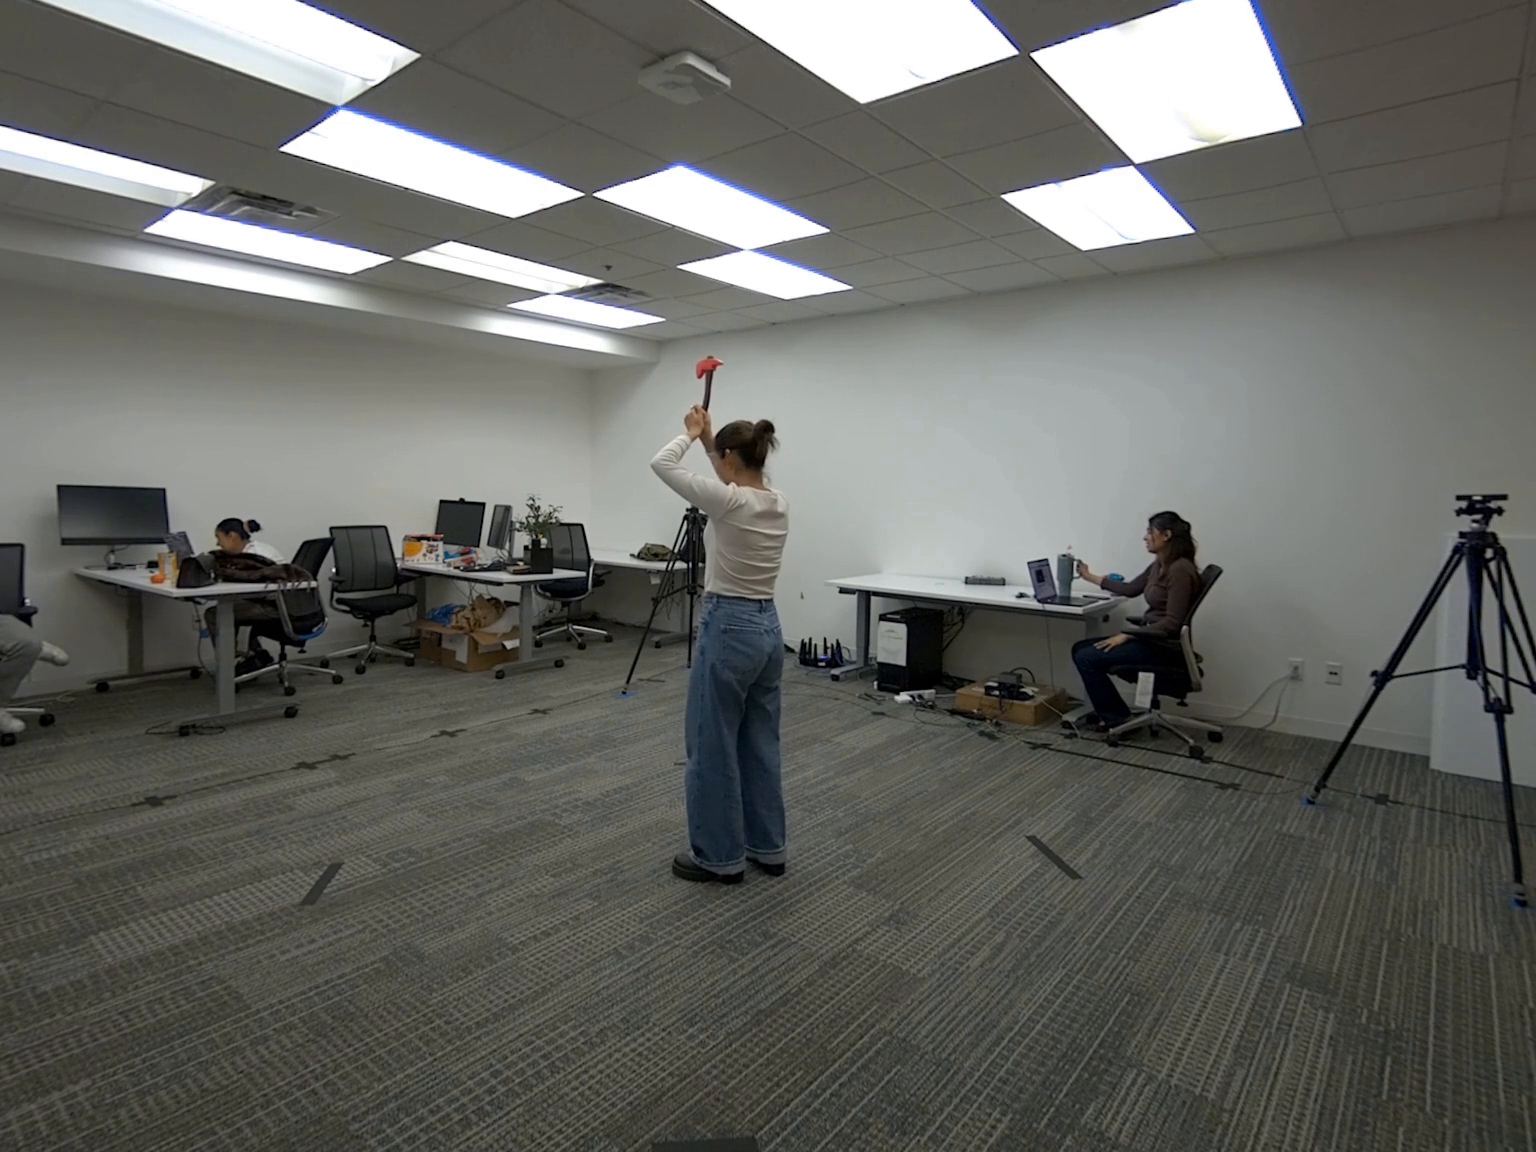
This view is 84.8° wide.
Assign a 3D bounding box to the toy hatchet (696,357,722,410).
[{"bbox_3d":[-0.258,-0.682,3.129,0.136,0.268,0.028,30,17,38],"label":"toy hatchet"}]
